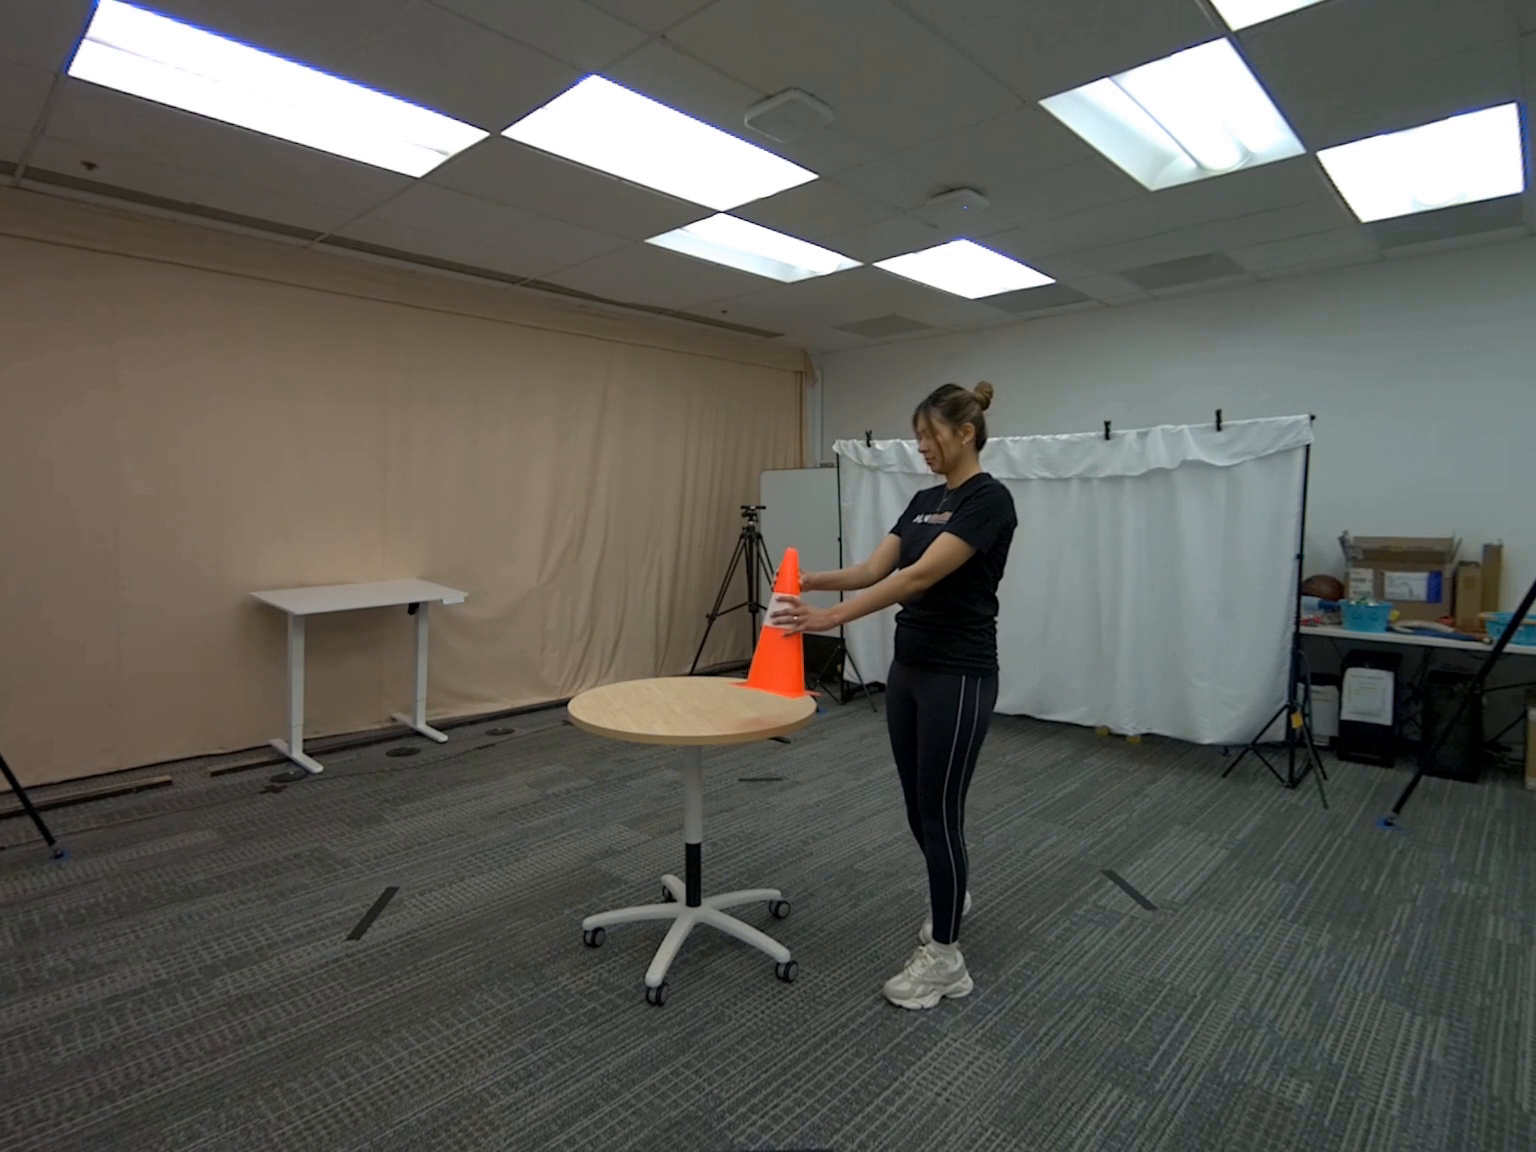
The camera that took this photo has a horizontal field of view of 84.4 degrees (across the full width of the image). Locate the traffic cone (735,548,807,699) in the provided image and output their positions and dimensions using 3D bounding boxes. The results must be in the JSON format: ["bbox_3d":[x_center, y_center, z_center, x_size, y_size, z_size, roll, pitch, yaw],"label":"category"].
[{"bbox_3d":[0.060,0.121,2.272,0.211,0.384,0.197,5,-3,31],"label":"traffic cone"}]
